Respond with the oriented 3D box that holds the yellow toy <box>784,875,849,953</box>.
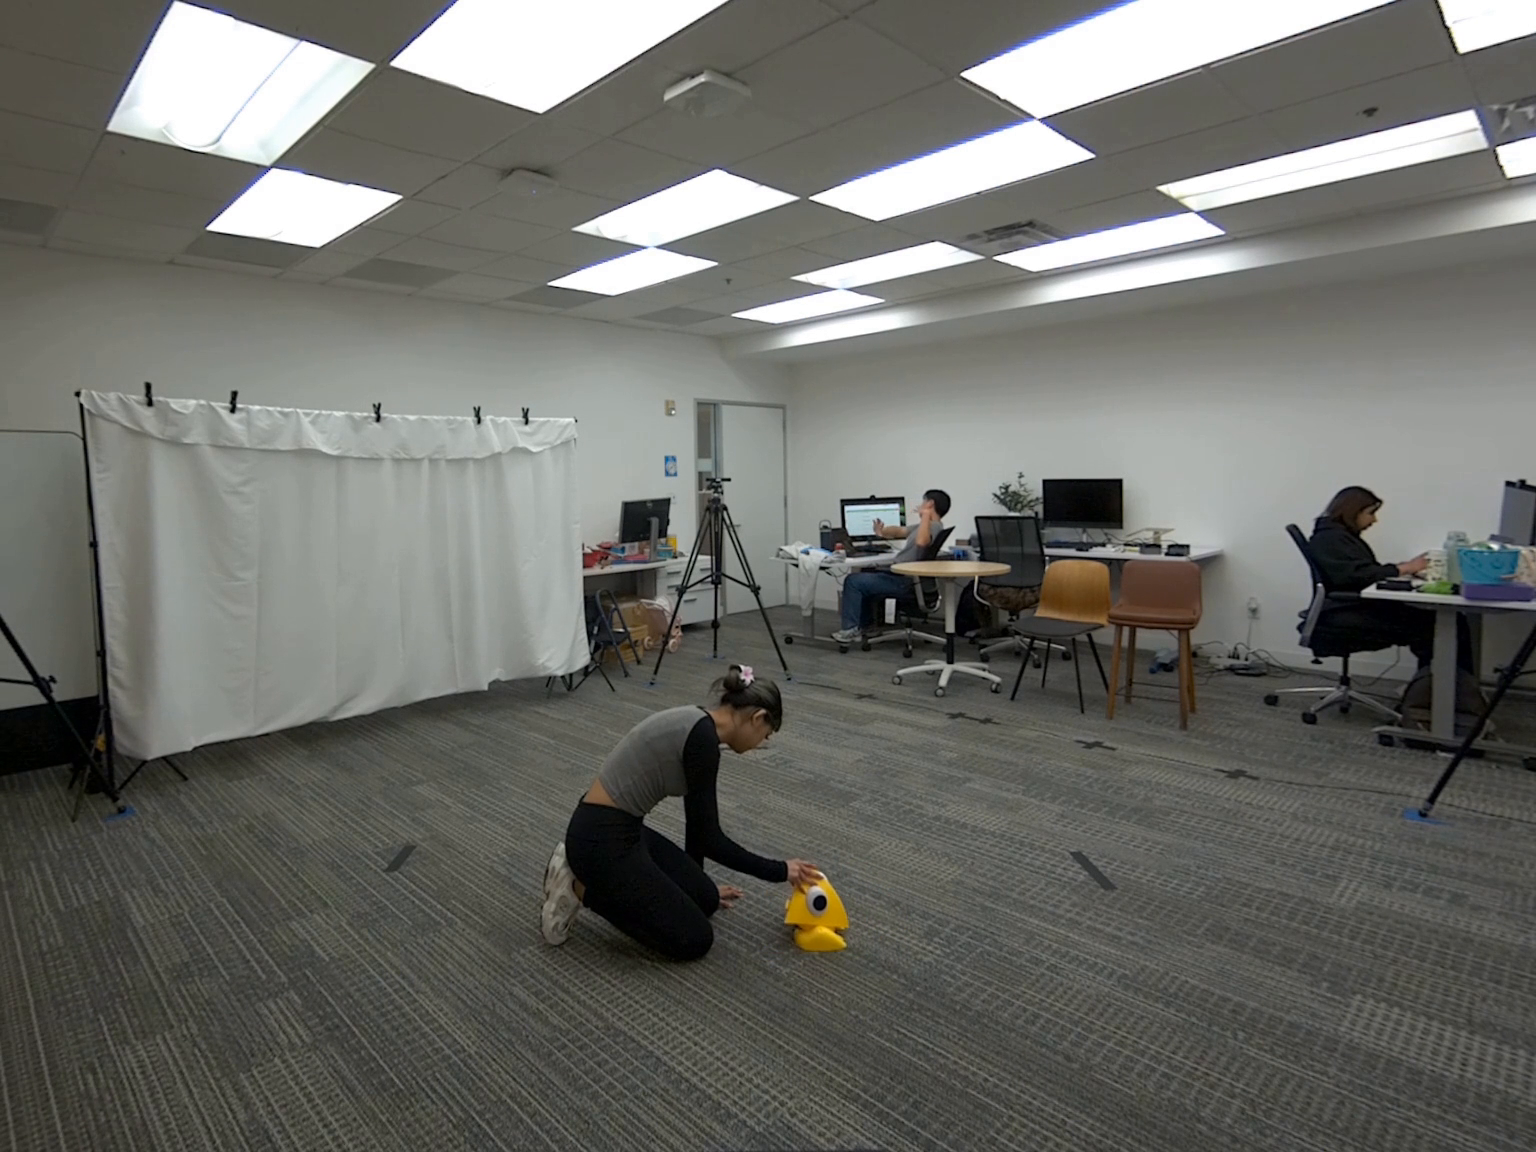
[{"bbox_3d":[0.153,0.978,2.615,0.195,0.230,0.204,-1,4,8],"label":"yellow toy"}]
